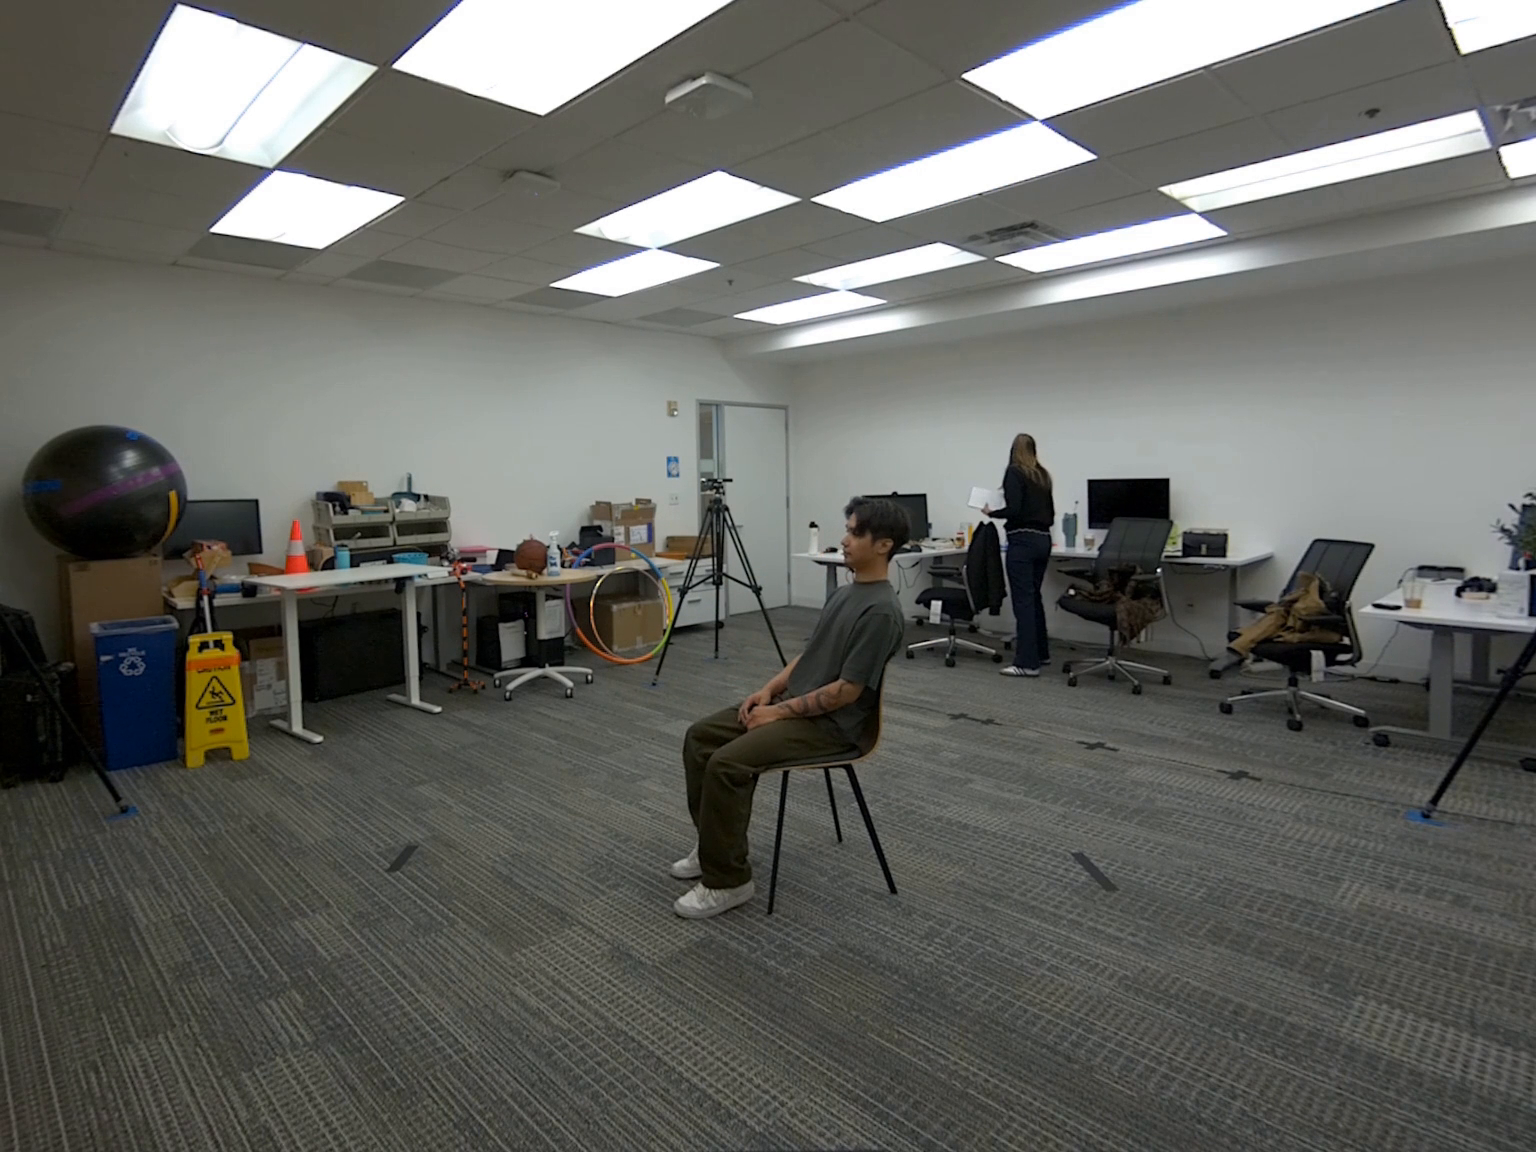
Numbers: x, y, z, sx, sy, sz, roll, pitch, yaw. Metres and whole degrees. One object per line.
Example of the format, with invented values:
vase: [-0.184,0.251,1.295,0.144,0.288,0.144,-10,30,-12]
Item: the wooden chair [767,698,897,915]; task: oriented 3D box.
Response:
wooden chair: [0.137,0.622,2.977,0.514,0.875,0.488,2,3,-18]
